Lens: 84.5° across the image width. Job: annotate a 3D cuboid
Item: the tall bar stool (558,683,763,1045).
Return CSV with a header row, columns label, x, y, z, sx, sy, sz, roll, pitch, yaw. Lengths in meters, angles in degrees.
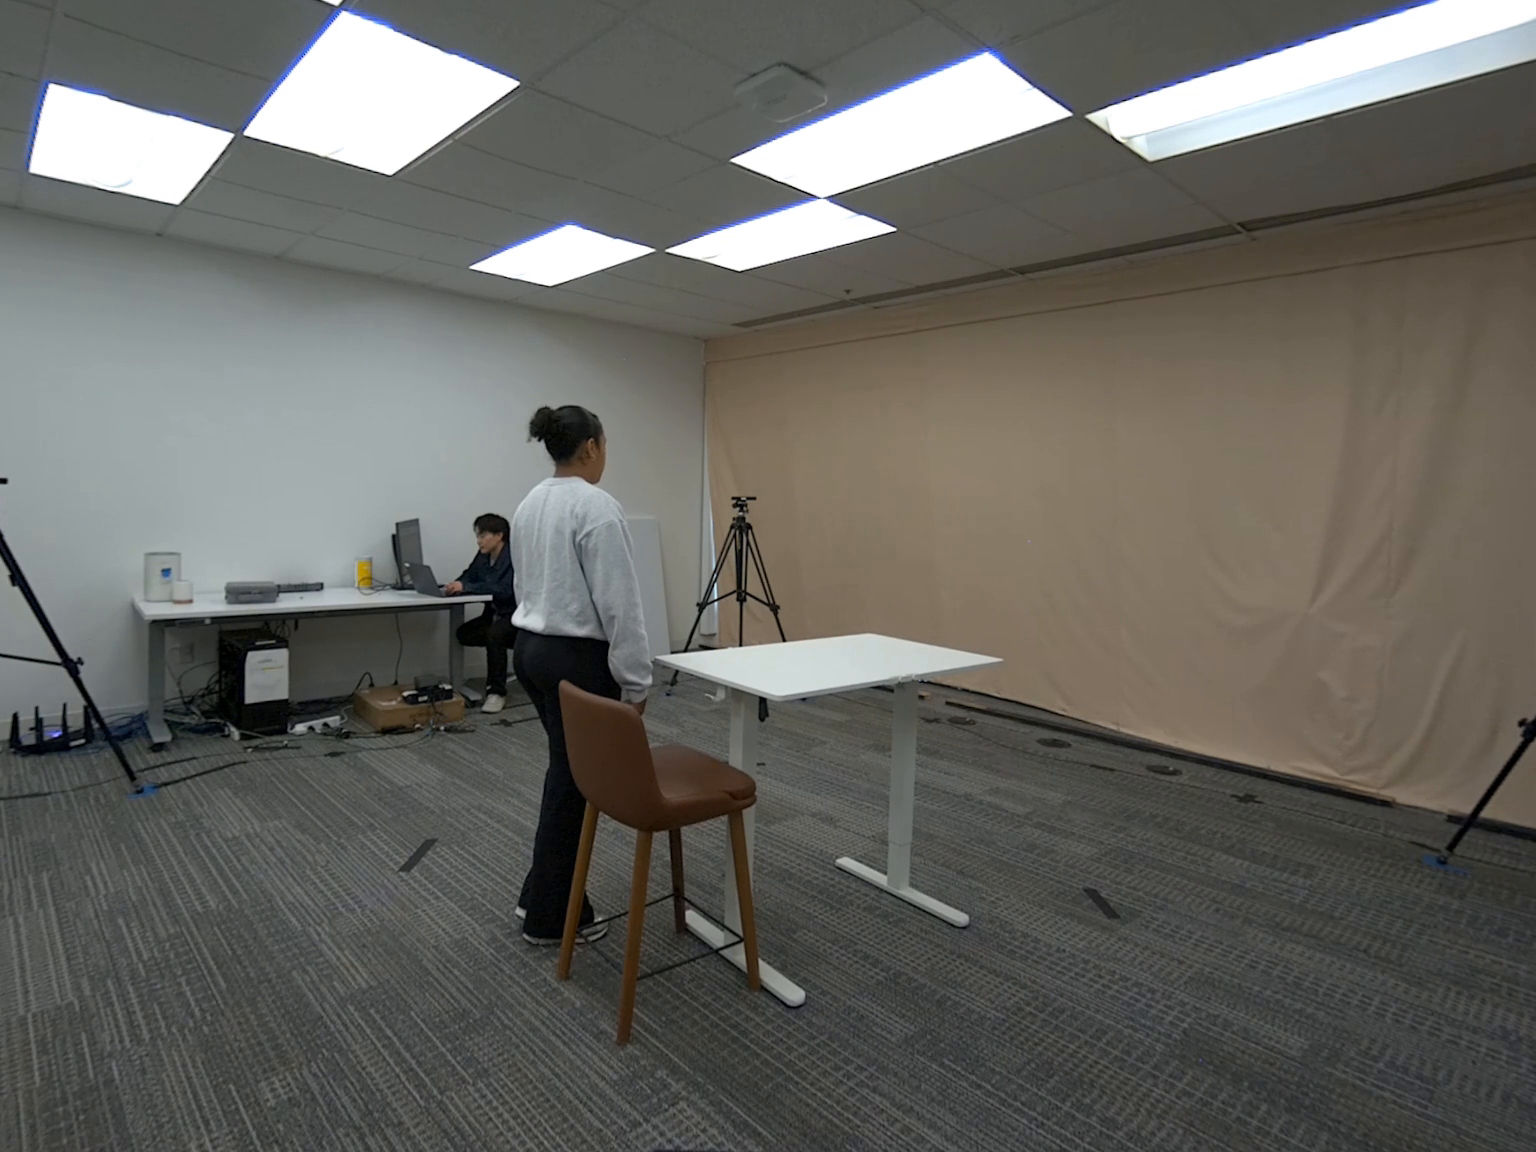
label,x,y,z,sx,sy,sz,roll,pitch,yaw
tall bar stool,-0.319,0.734,2.381,0.458,0.886,0.468,-4,6,-38
